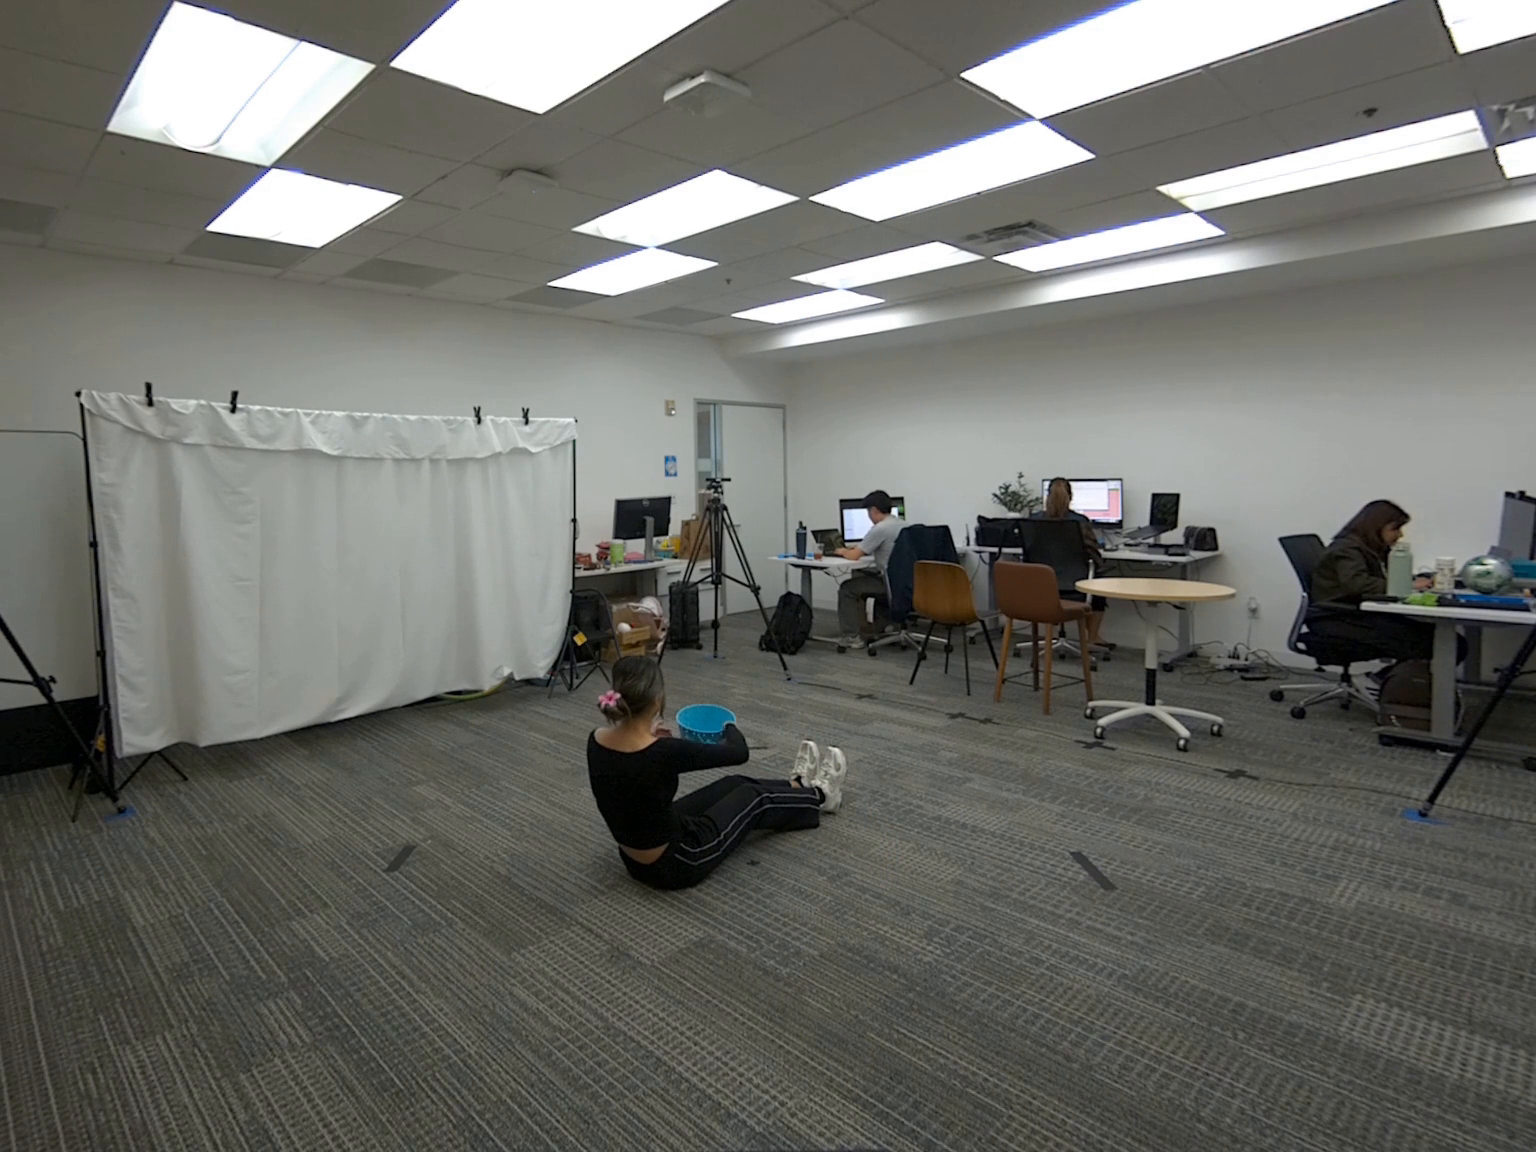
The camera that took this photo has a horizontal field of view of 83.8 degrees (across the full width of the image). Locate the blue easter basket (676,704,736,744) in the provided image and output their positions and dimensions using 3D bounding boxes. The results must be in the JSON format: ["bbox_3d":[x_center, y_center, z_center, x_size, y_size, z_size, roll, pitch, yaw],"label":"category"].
[{"bbox_3d":[-0.232,0.634,3.367,0.243,0.154,0.247,2,16,-2],"label":"blue easter basket"}]
